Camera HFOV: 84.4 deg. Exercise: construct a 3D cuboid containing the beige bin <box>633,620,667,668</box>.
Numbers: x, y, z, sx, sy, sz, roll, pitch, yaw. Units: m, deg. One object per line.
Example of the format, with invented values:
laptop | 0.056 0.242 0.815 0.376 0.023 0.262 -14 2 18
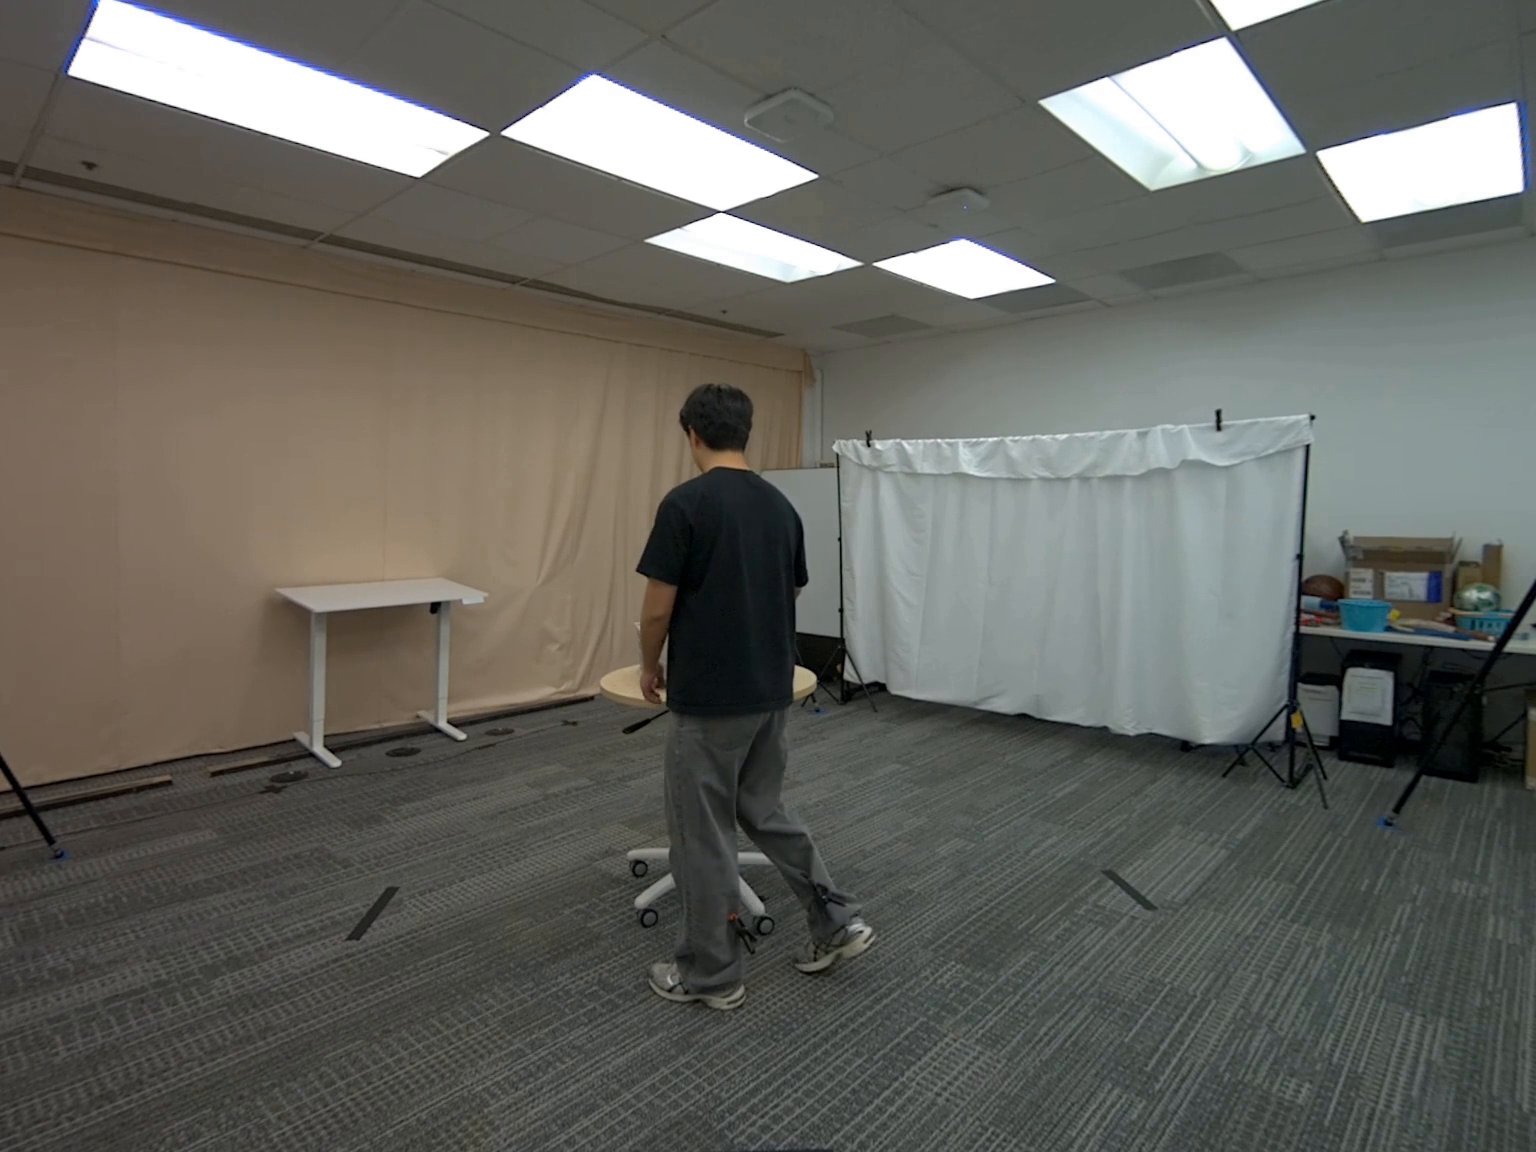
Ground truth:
beige bin | -0.245 0.271 2.985 0.417 0.188 0.383 -2 4 -13
